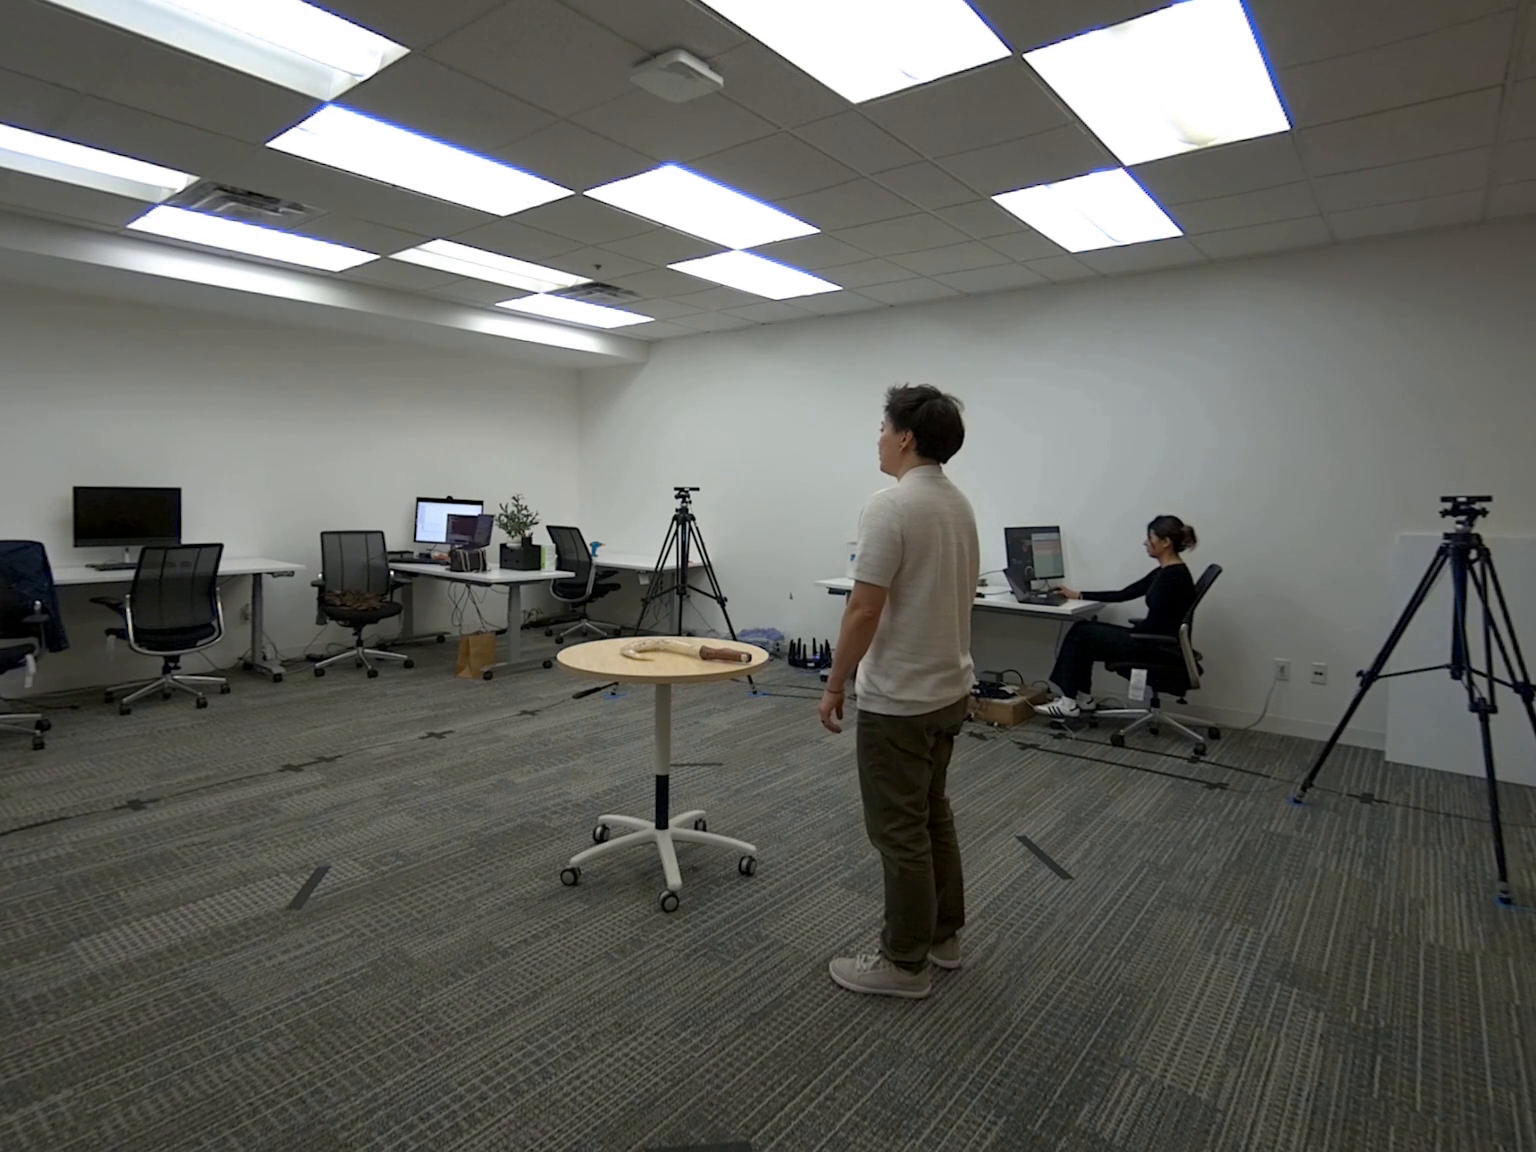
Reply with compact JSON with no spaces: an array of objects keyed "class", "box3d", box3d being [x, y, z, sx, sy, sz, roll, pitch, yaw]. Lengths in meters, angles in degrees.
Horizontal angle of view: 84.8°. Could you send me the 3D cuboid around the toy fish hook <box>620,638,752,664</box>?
[{"class":"toy fish hook","box3d":[-0.311,0.281,2.996,0.522,0.048,0.220,2,14,32]}]
